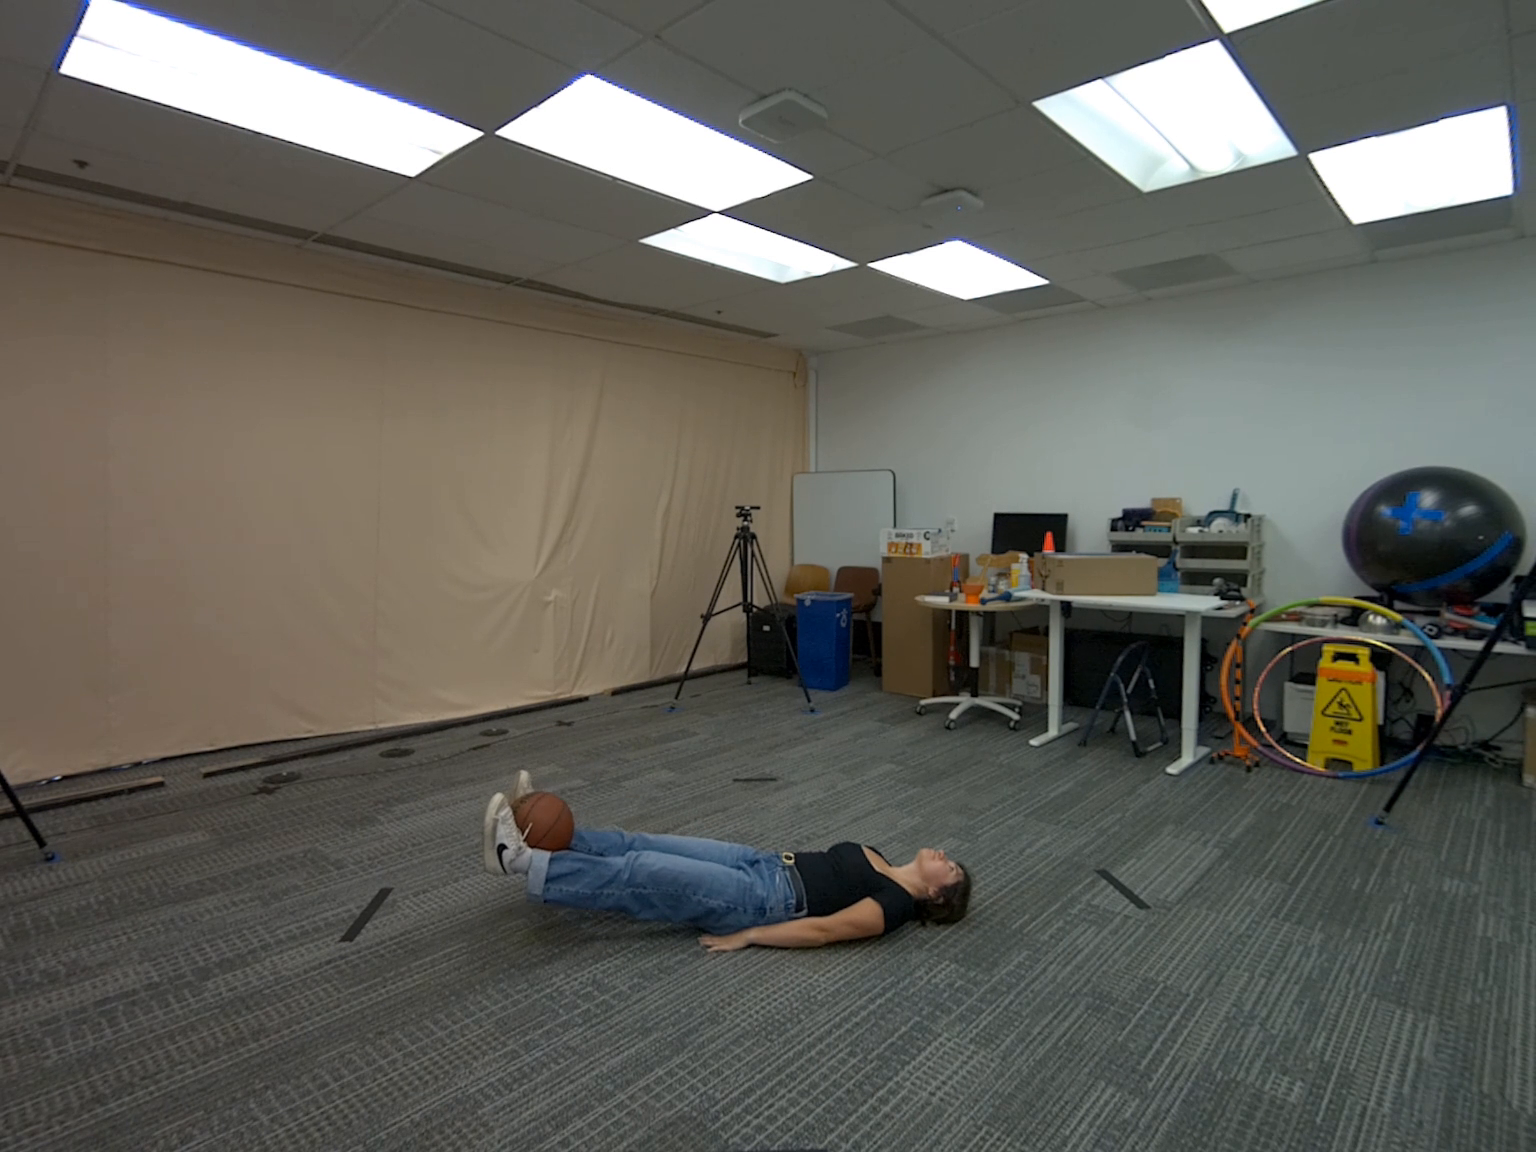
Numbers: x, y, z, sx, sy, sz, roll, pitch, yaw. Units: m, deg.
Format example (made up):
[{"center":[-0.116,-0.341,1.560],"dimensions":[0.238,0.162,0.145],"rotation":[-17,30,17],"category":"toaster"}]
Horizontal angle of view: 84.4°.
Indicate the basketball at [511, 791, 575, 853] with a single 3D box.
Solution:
[{"center":[-0.763,0.836,2.795],"dimensions":[0.236,0.235,0.237],"rotation":[0,4,-2],"category":"basketball"}]
